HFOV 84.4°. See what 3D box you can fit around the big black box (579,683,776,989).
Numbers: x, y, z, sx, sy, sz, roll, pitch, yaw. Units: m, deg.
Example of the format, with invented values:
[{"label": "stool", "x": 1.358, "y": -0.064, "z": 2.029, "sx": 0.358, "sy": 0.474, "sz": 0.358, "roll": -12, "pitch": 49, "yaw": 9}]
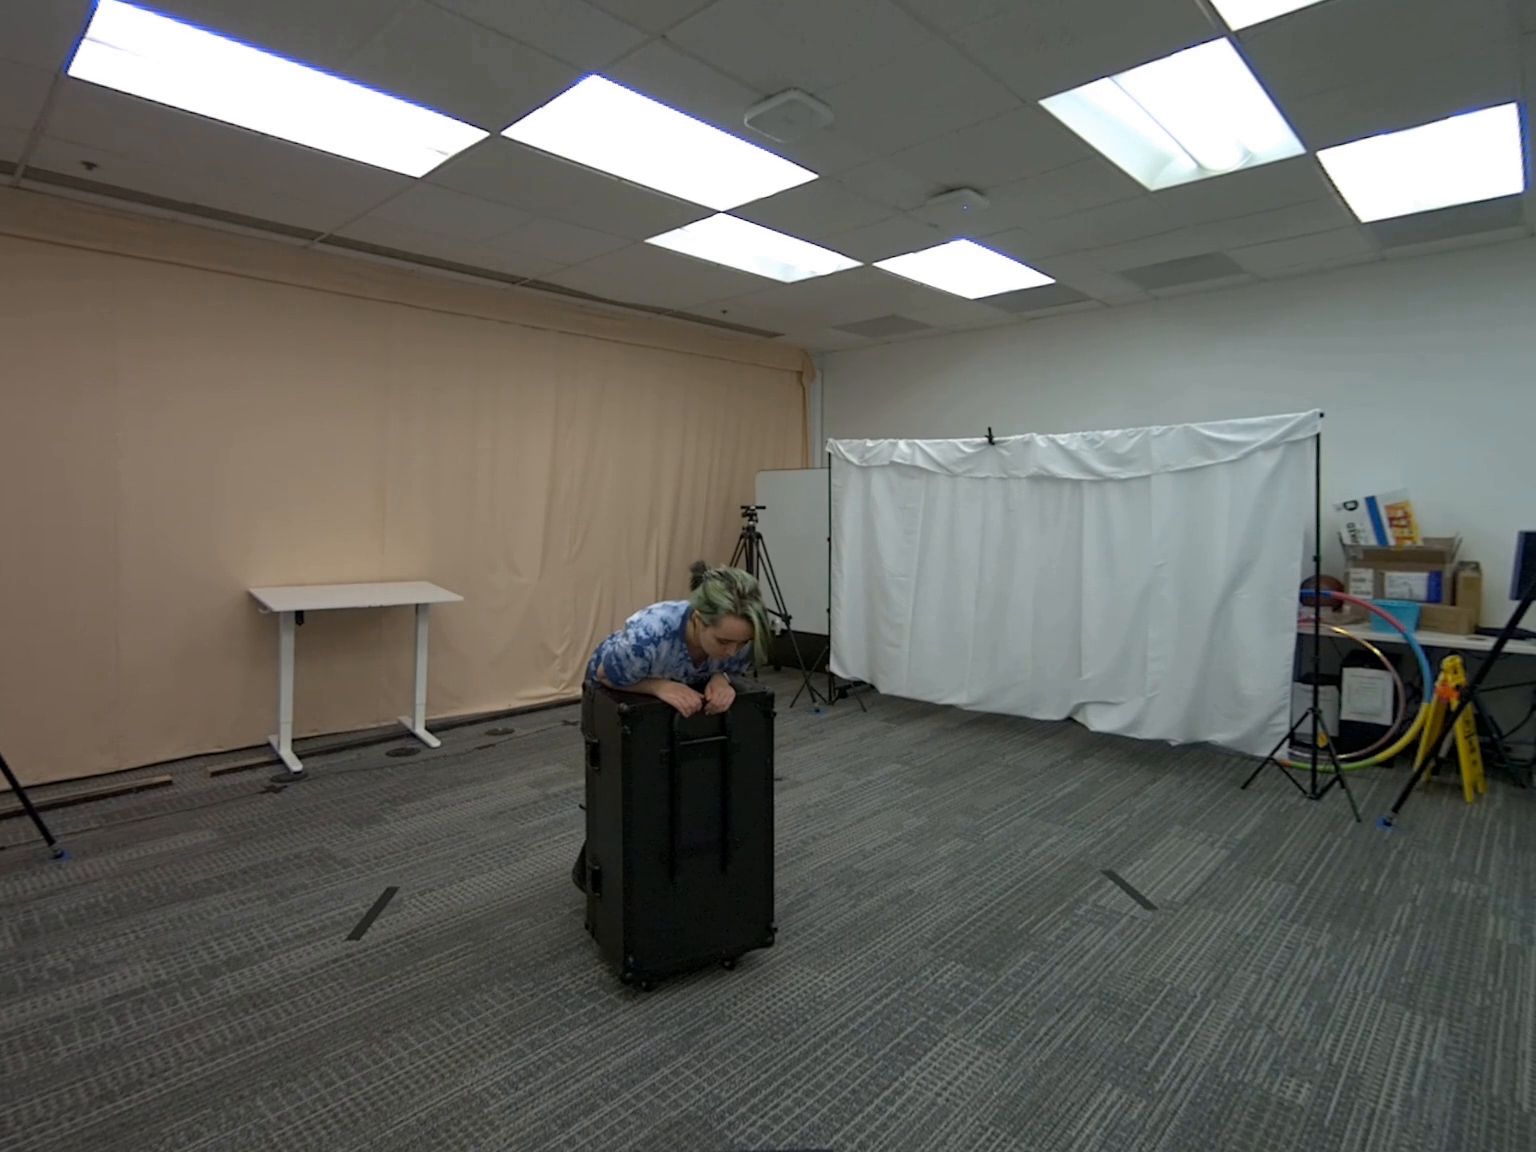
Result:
[{"label": "big black box", "x": -0.265, "y": 0.701, "z": 2.547, "sx": 0.508, "sy": 0.860, "sz": 0.407, "roll": -1, "pitch": 3, "yaw": -27}]
